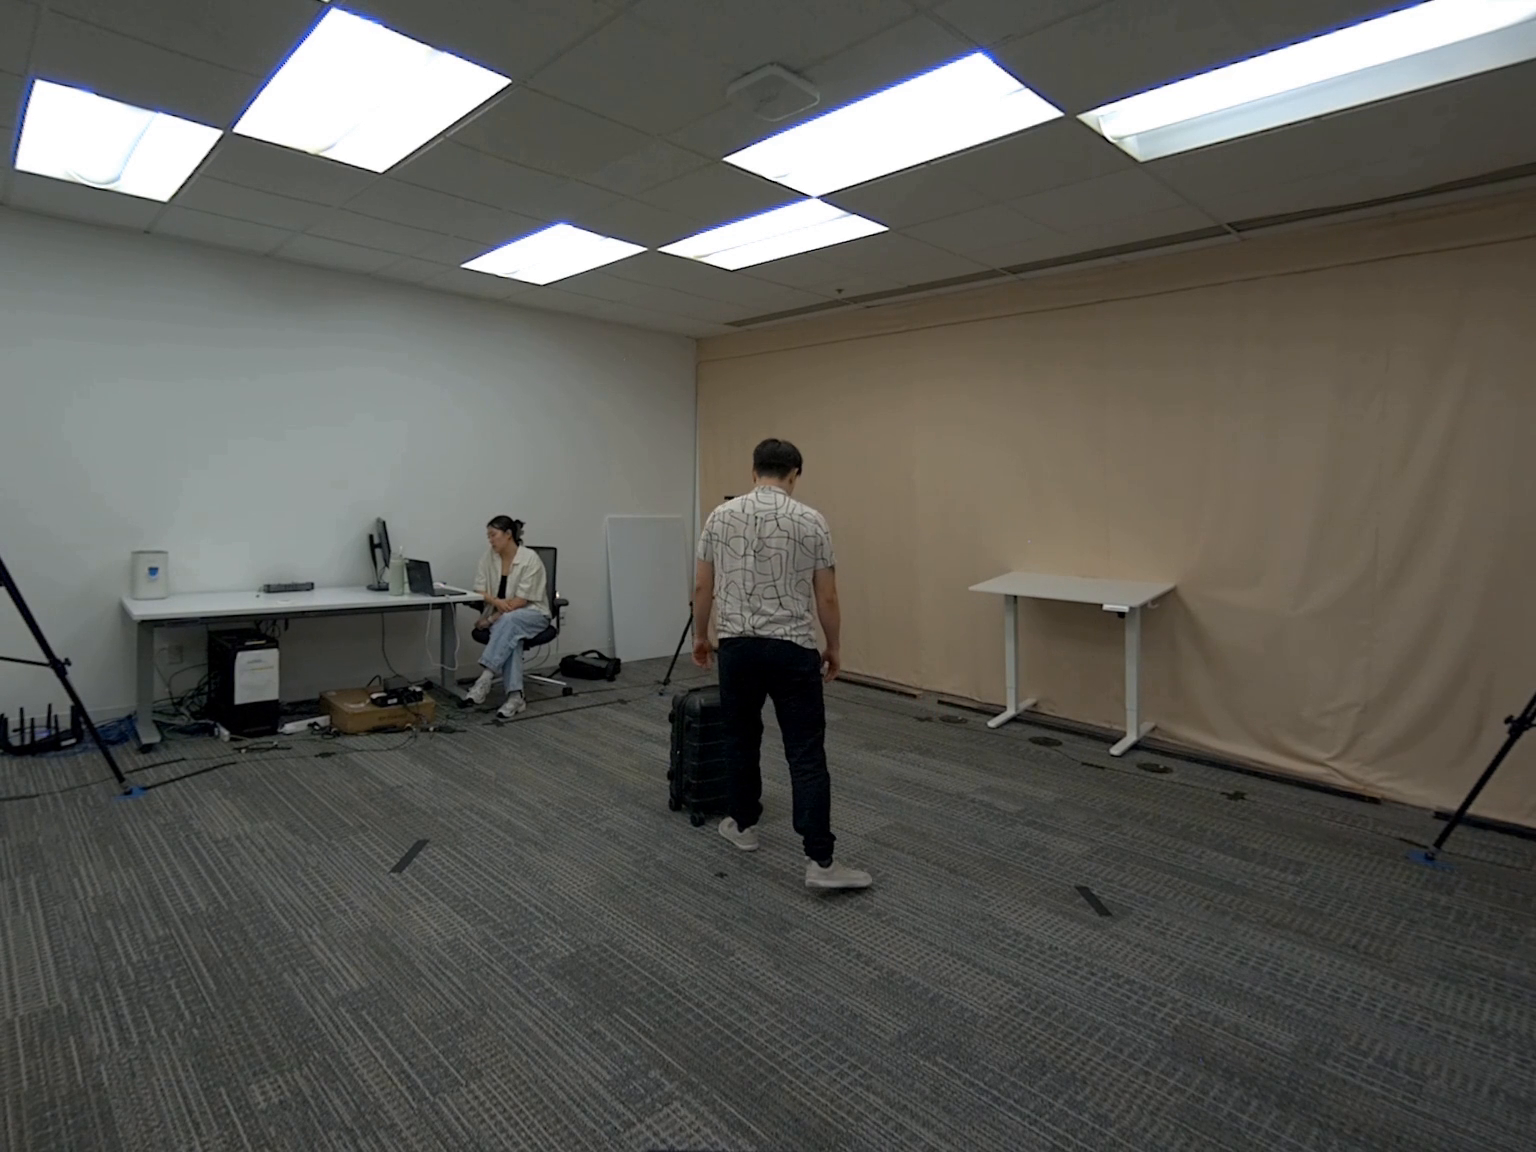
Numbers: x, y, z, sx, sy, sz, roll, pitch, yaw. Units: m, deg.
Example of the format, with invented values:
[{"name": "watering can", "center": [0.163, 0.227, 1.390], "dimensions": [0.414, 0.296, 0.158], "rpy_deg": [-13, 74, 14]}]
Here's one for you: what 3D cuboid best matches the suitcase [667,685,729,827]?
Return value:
[{"name": "suitcase", "center": [-0.247, 0.766, 3.744], "dimensions": [0.367, 0.548, 0.254], "rpy_deg": [-1, 3, -33]}]
